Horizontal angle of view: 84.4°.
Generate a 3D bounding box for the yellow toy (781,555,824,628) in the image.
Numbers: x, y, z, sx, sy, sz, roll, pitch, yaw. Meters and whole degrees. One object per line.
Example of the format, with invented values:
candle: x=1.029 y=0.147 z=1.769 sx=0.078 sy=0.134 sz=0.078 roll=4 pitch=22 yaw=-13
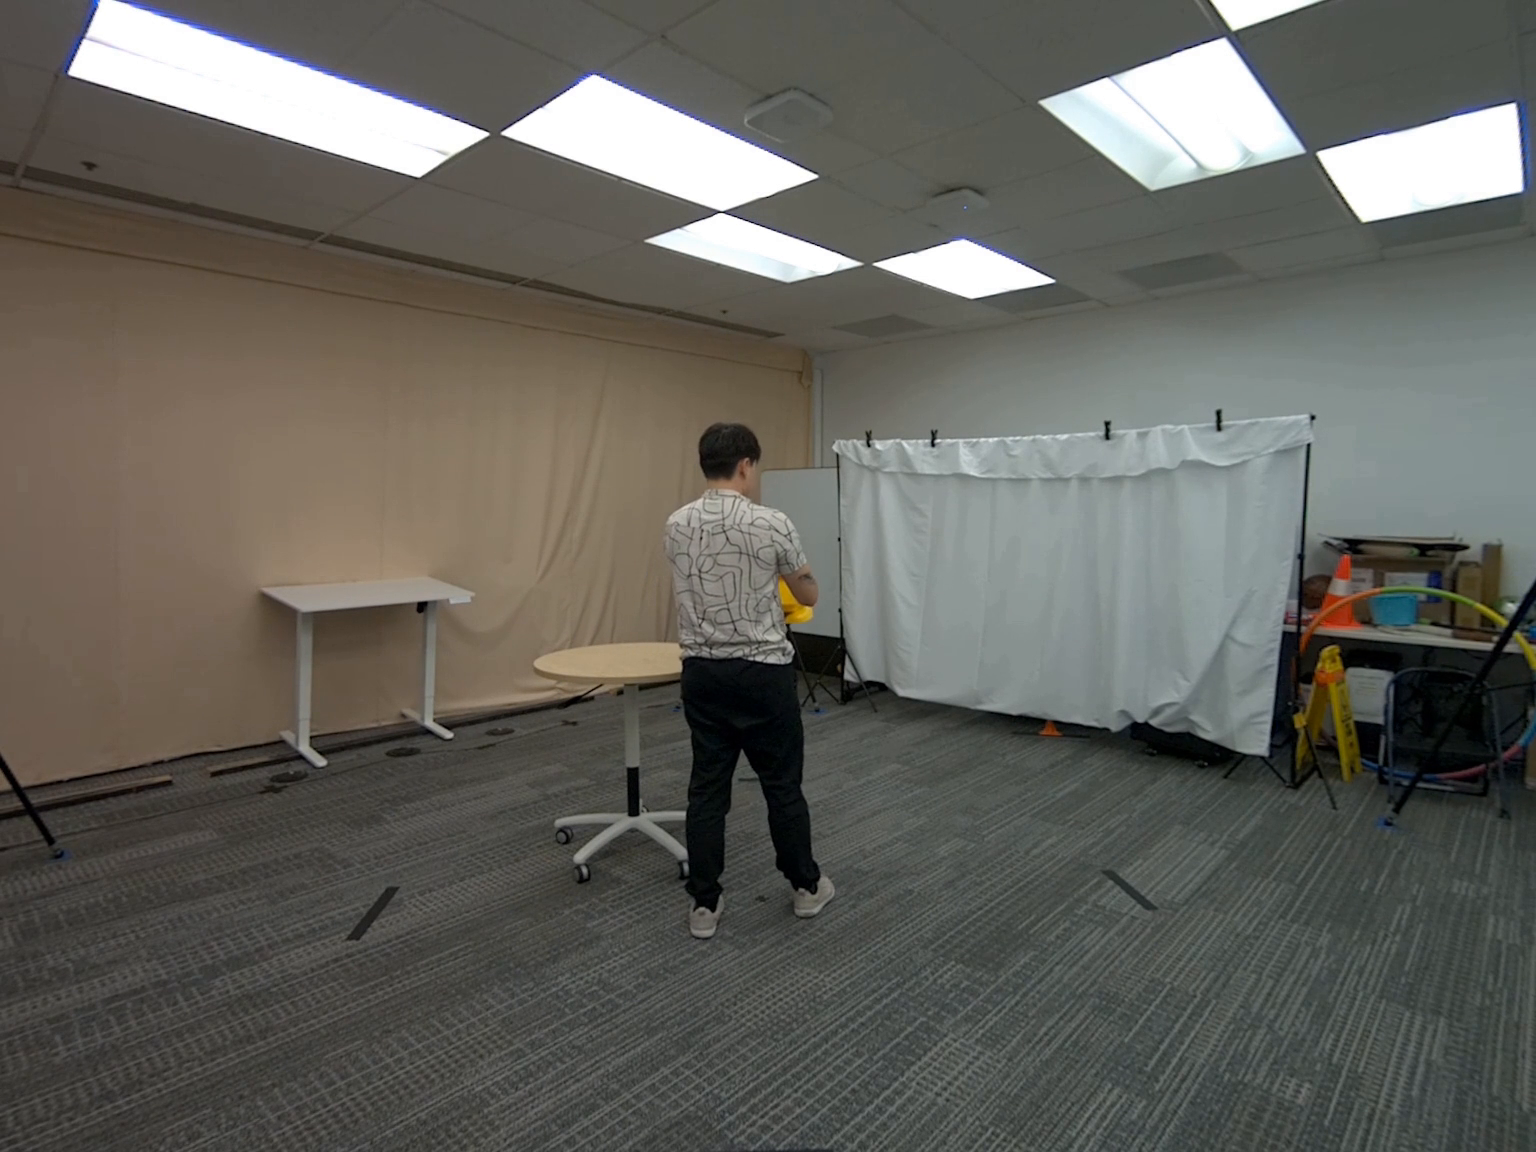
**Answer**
yellow toy: x=0.070 y=0.051 z=3.179 sx=0.210 sy=0.229 sz=0.189 roll=0 pitch=11 yaw=26
